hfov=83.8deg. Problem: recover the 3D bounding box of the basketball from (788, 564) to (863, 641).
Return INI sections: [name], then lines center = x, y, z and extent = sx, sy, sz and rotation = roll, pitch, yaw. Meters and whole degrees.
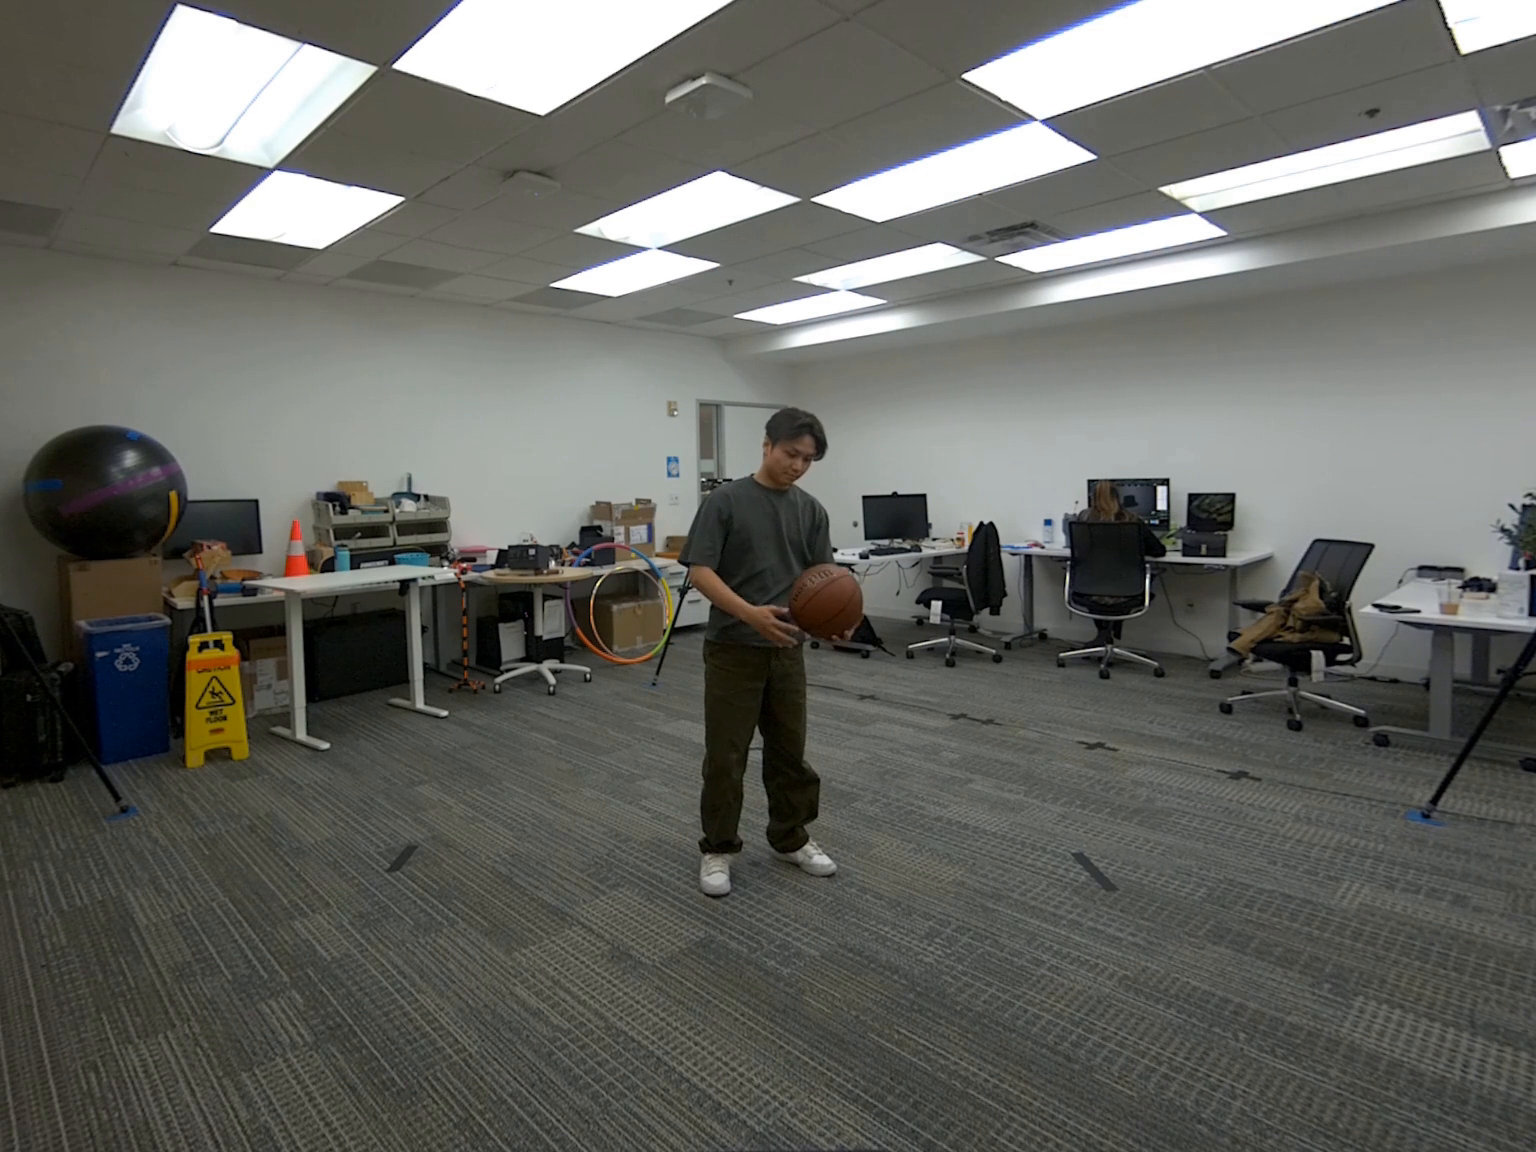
[basketball]
center = 0.189, 0.083, 2.755
extent = 0.236, 0.235, 0.237
rotation = -1, 5, -2
